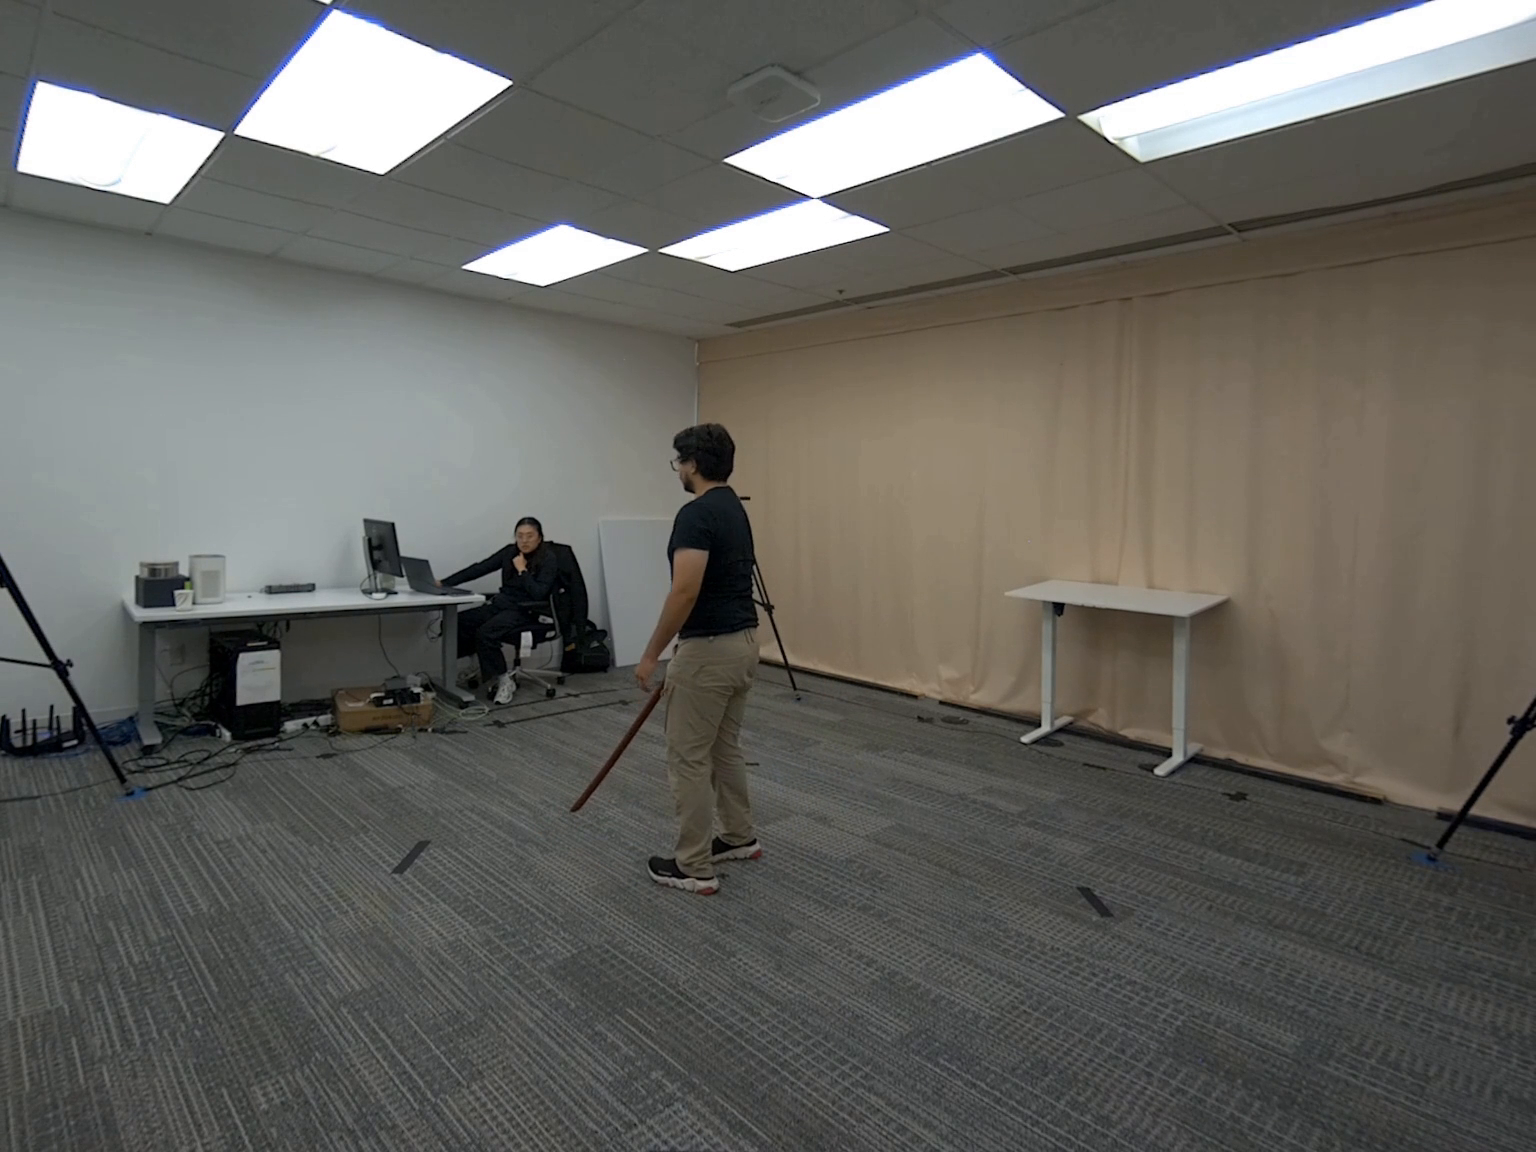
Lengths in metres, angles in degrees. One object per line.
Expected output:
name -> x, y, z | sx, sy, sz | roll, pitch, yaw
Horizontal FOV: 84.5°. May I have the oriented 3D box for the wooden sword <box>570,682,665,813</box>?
wooden sword -> -0.547, 0.599, 3.401 | 0.024, 1.022, 0.052 | 31, 17, -15
